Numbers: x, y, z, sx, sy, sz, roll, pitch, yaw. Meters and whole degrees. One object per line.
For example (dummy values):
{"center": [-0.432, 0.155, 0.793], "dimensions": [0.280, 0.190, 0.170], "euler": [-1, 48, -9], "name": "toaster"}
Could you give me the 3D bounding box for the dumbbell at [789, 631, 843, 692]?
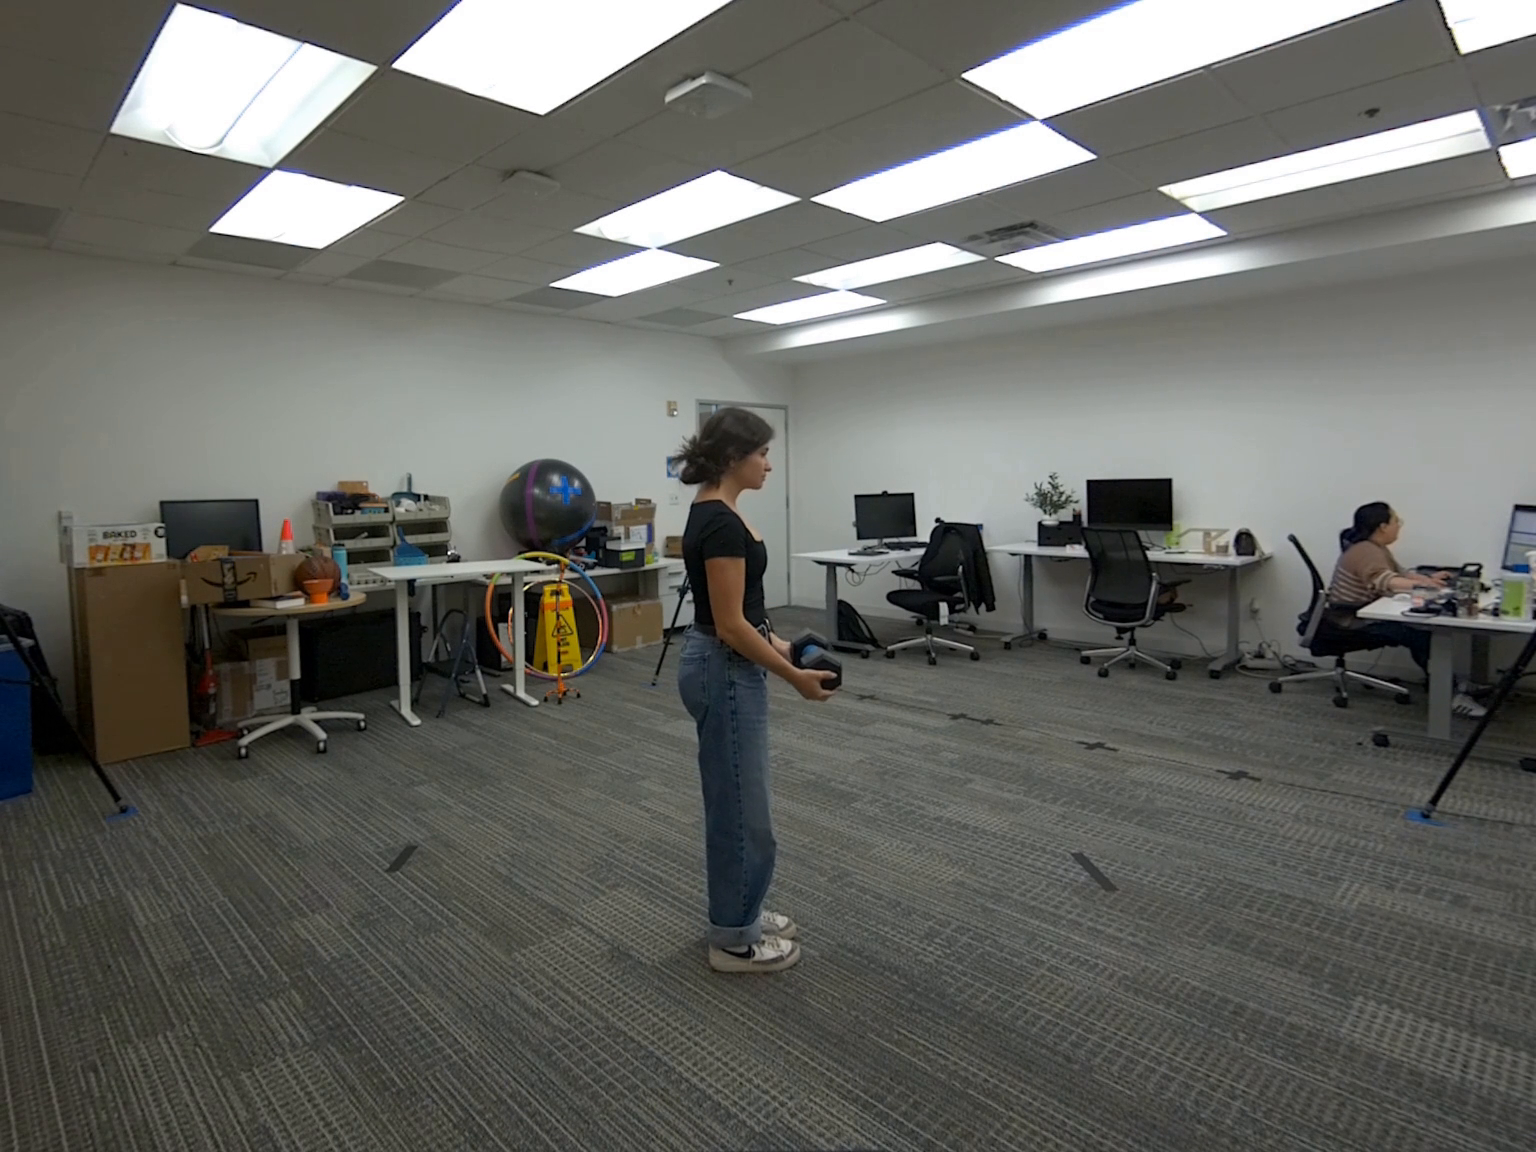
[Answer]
{"center": [0.138, 0.234, 2.475], "dimensions": [0.123, 0.107, 0.297], "euler": [-30, 11, 0], "name": "dumbbell"}
